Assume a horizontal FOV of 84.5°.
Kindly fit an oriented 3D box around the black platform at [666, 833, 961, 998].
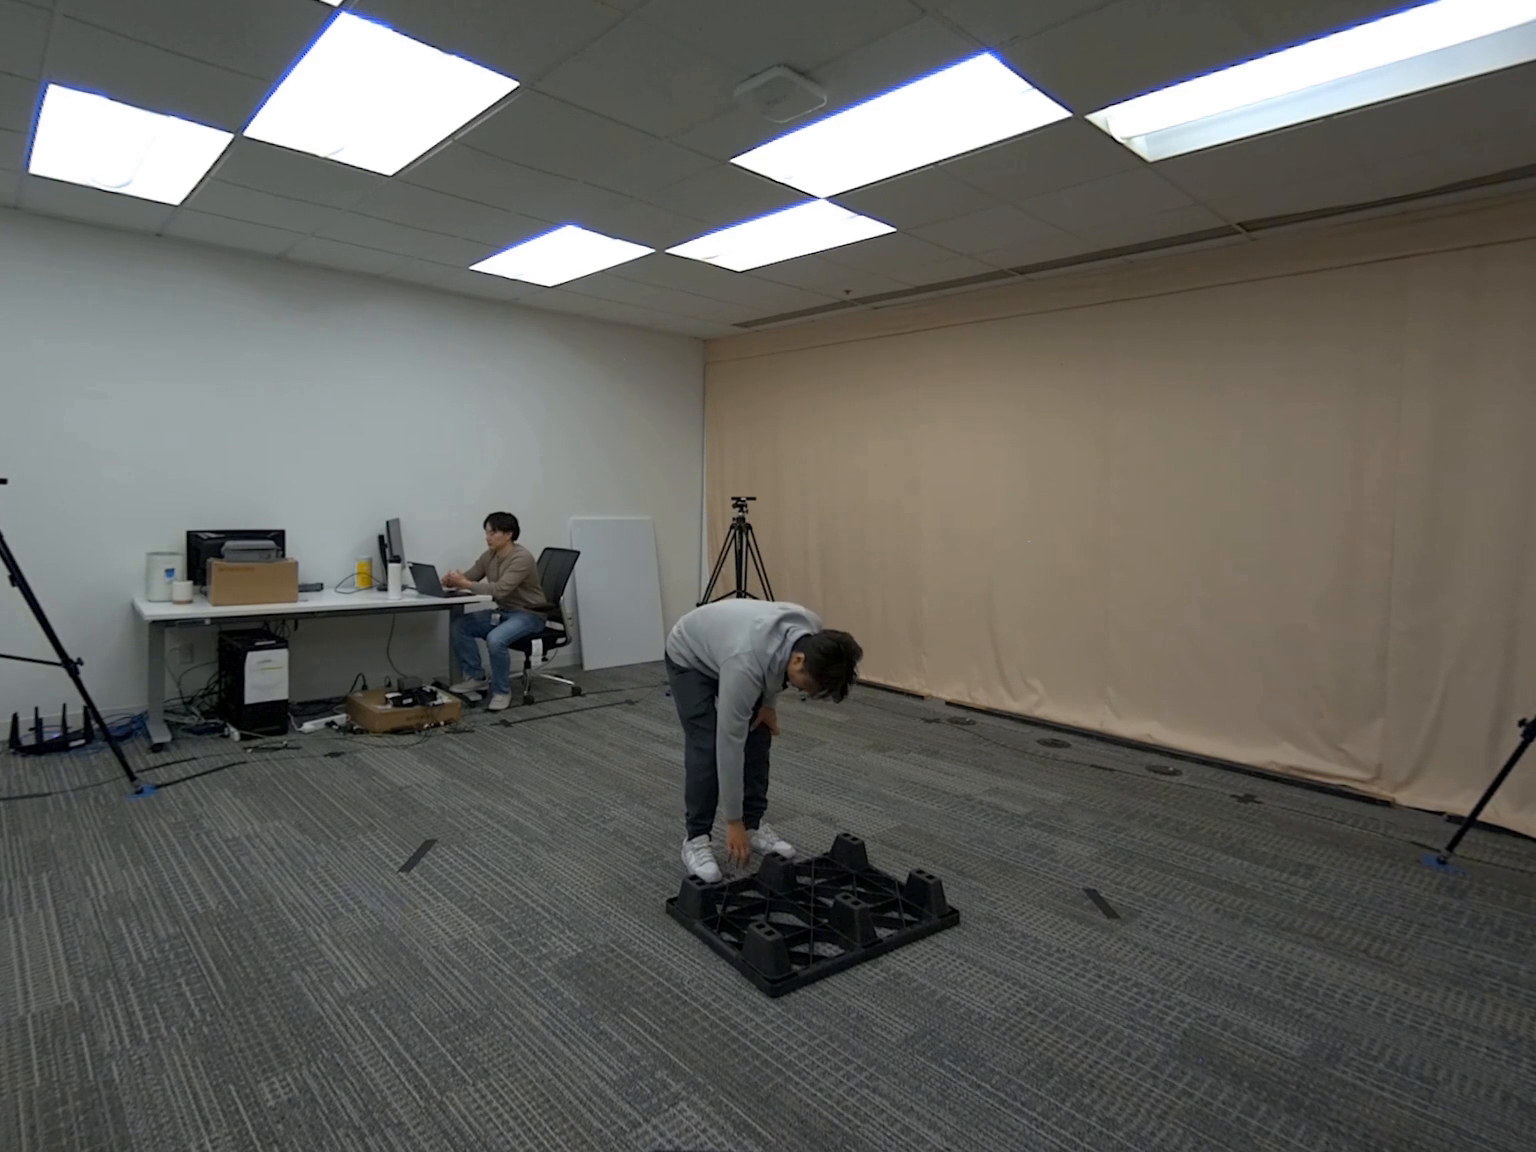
[{"bbox_3d":[0.144,1.078,2.800,0.788,0.143,0.620,-3,7,-37],"label":"black platform"}]
